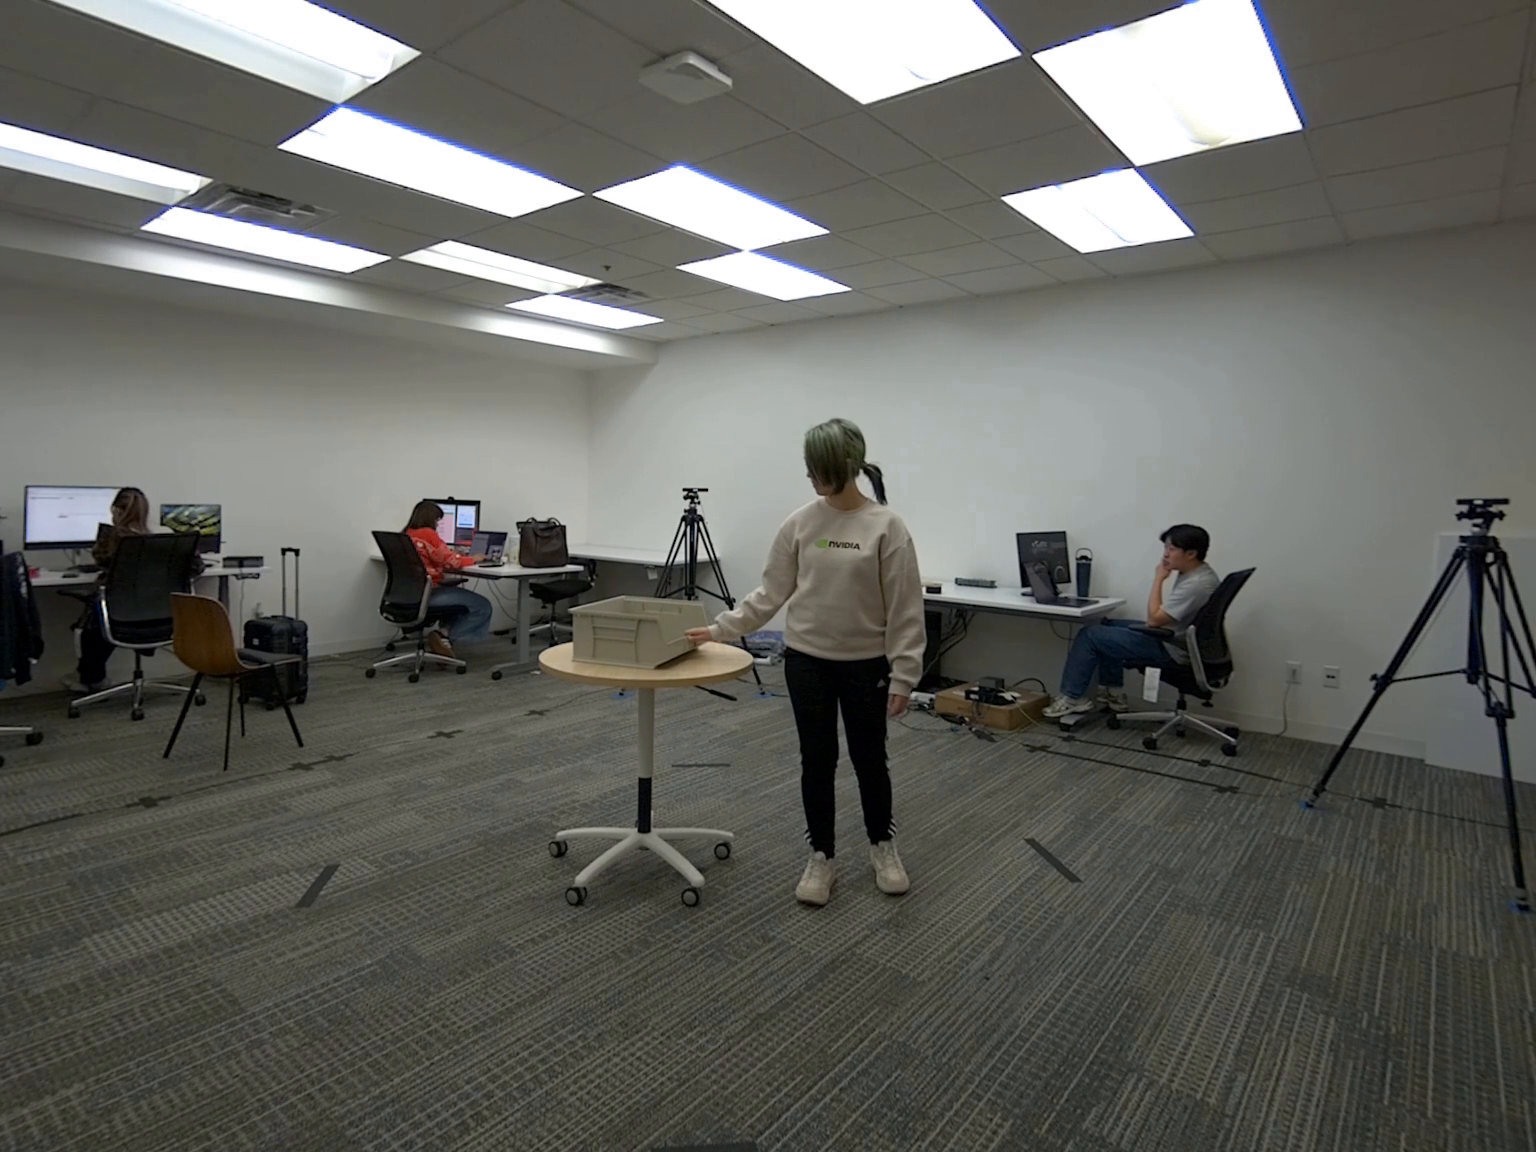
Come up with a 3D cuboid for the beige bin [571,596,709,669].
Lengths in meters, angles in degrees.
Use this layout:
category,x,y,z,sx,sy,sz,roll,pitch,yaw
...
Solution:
category,x,y,z,sx,sy,sz,roll,pitch,yaw
beige bin,-0.460,0.195,3.064,0.385,0.188,0.416,2,6,18
